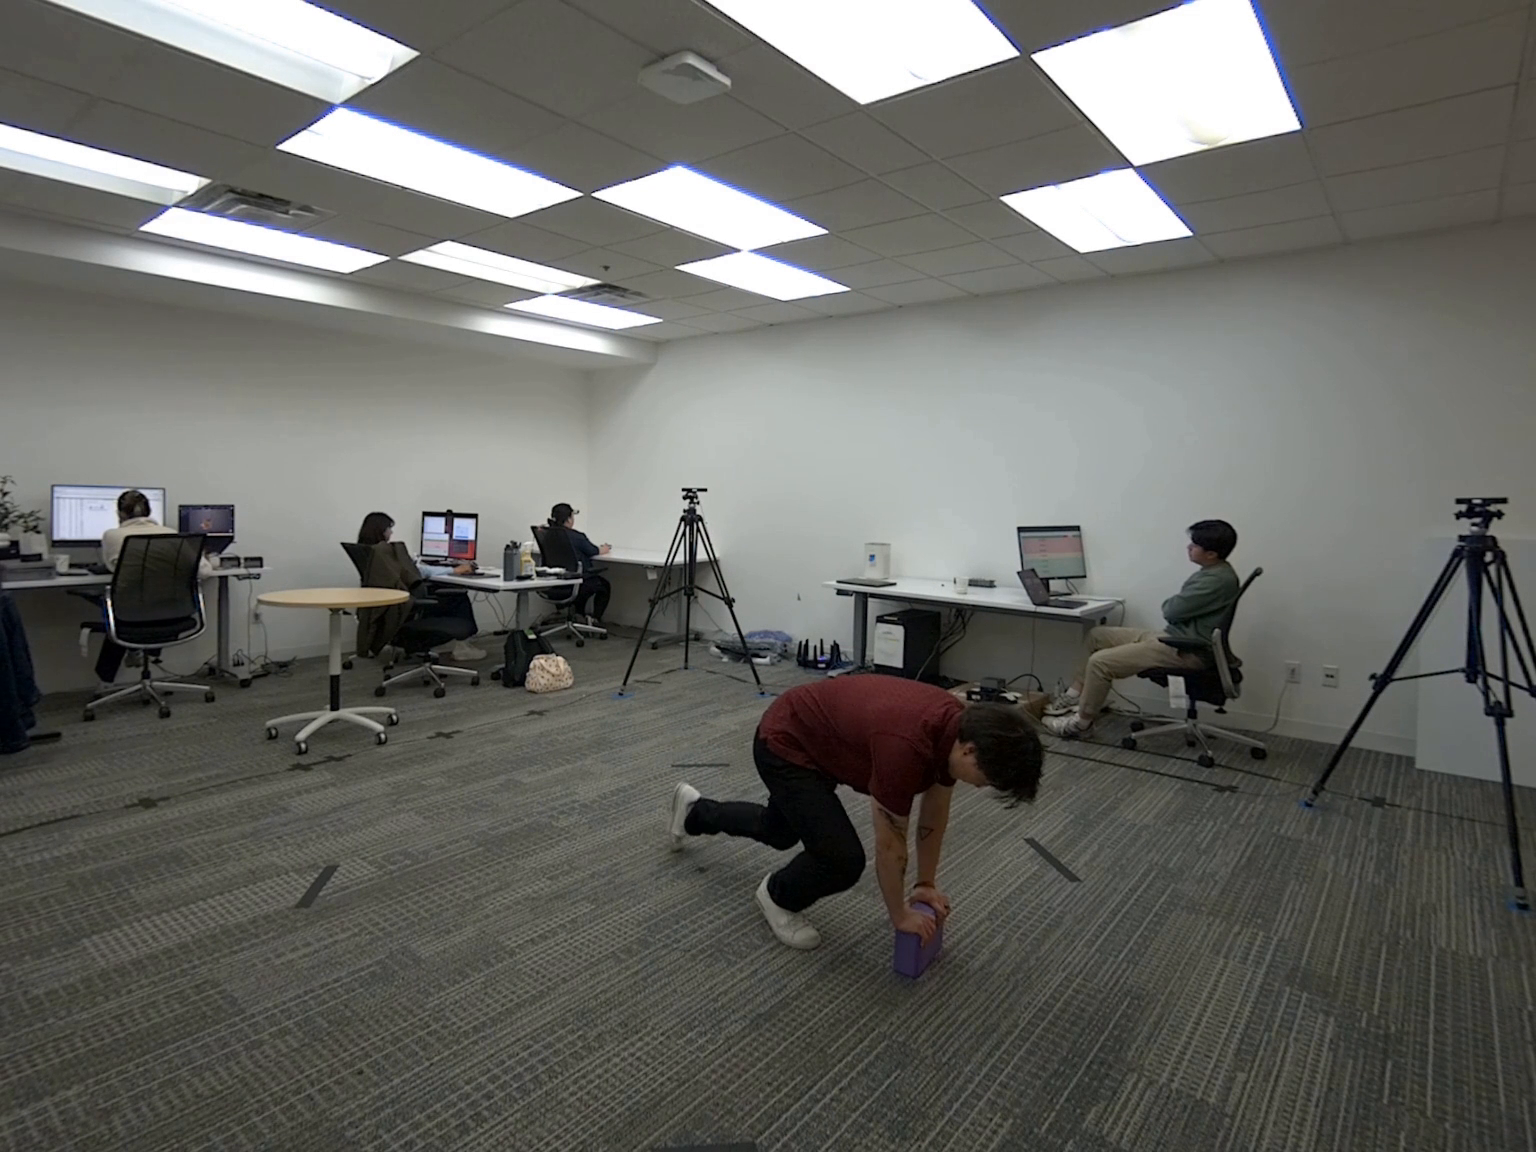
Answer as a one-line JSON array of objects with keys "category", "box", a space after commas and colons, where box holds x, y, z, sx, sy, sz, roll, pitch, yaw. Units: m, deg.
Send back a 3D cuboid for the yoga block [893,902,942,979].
[{"category": "yoga block", "box": [0.450, 1.071, 2.542, 0.079, 0.148, 0.223, 5, 6, 30]}]
